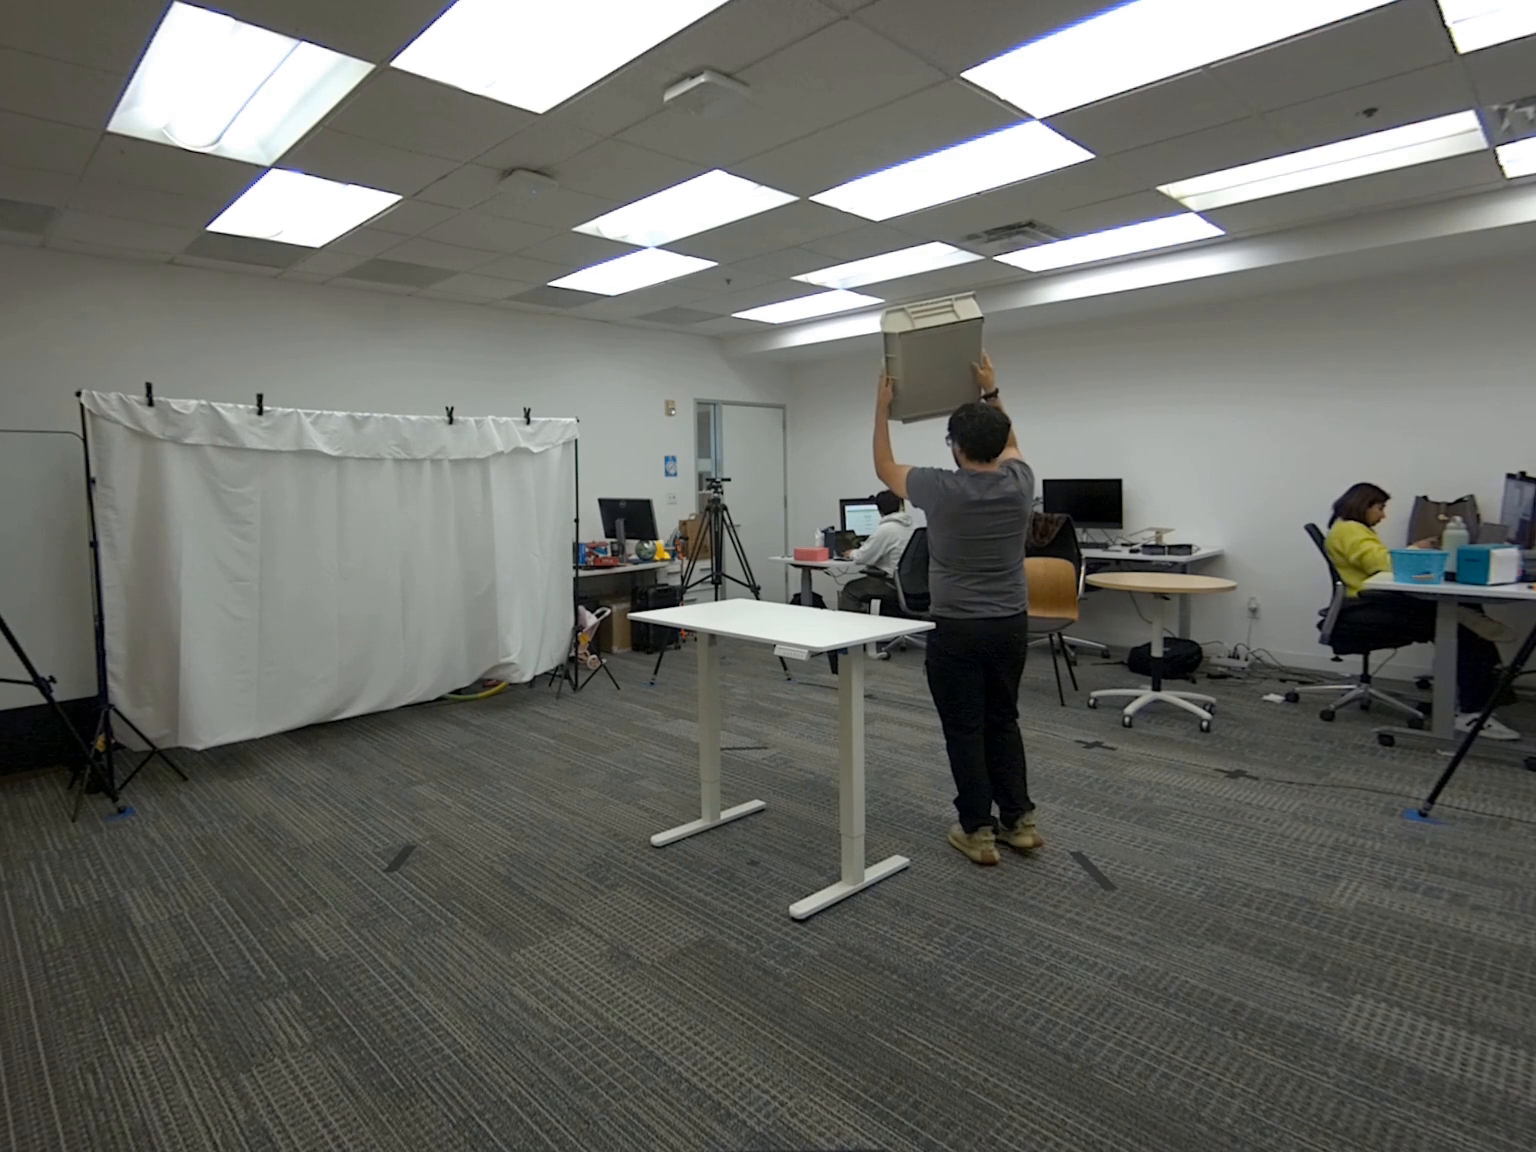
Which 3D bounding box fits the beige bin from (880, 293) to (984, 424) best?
[{"bbox_3d":[0.636,-0.828,3.285,0.379,0.409,0.194,-9,43,4],"label":"beige bin"}]
